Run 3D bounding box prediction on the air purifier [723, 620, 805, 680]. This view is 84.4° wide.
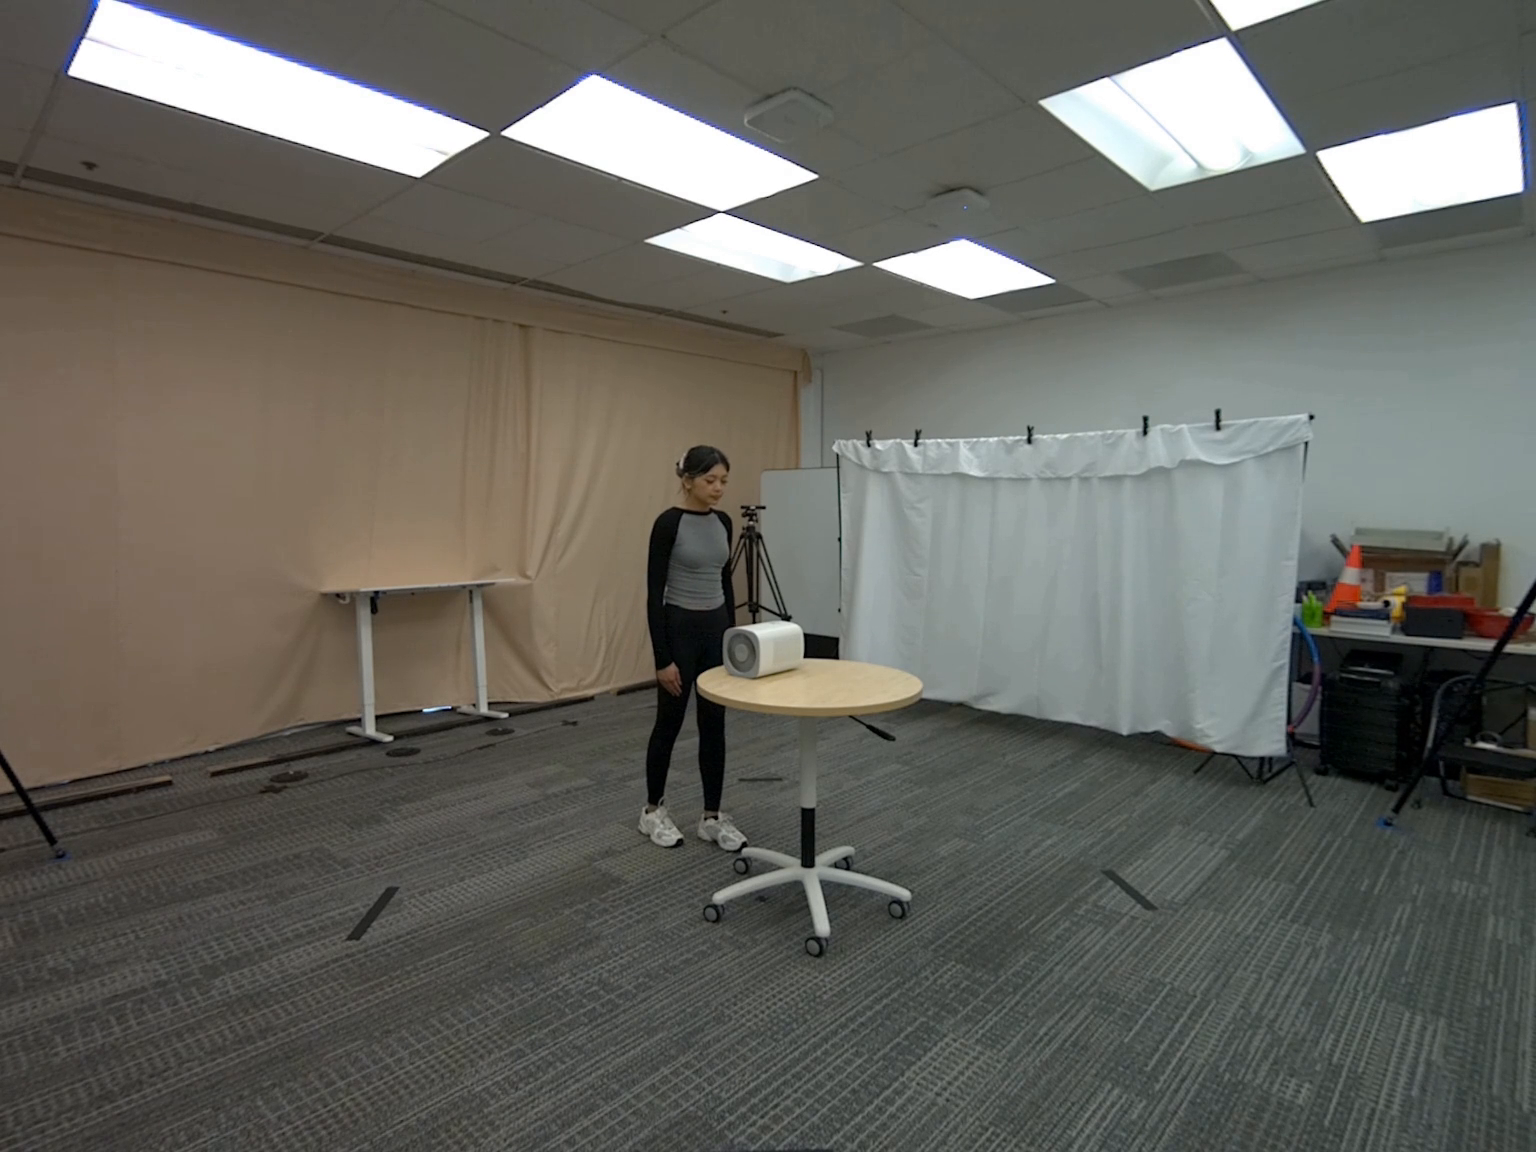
[{"bbox_3d":[-0.006,0.257,3.022,0.177,0.171,0.257,4,6,42],"label":"air purifier"}]
